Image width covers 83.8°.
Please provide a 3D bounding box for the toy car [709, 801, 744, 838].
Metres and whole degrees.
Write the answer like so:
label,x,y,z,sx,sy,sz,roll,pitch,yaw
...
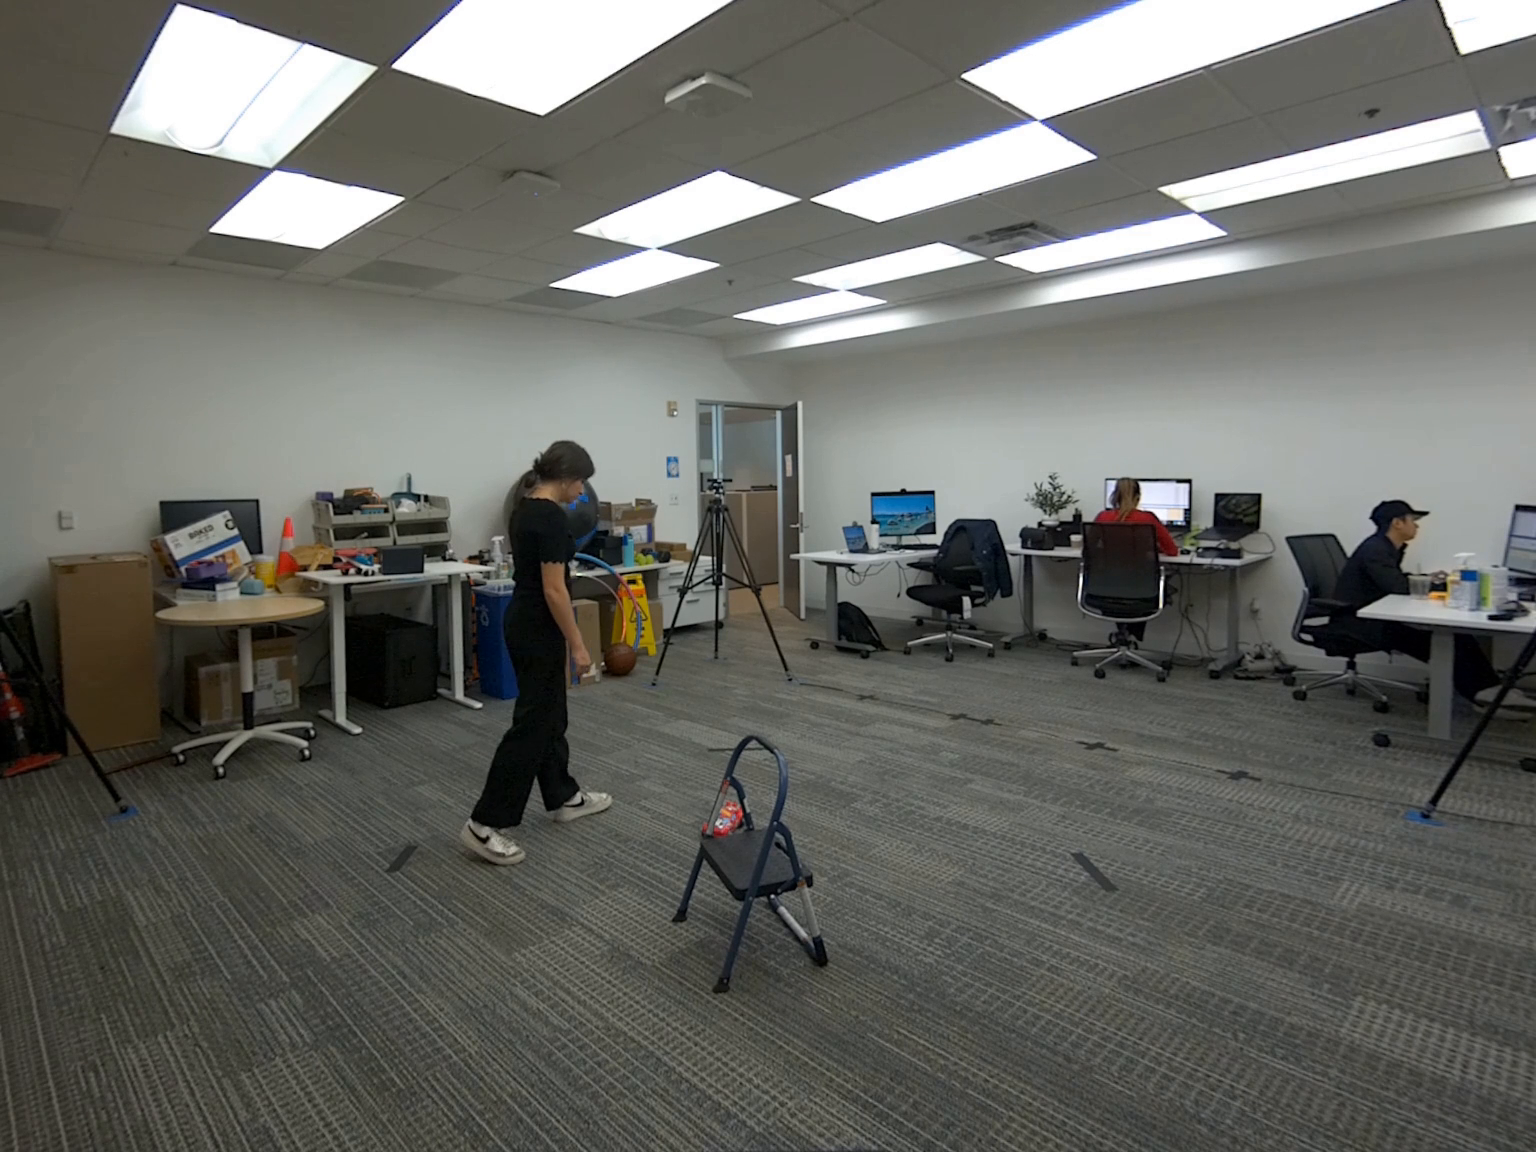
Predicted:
label,x,y,z,sx,sy,sz,roll,pitch,yaw
toy car,-0.168,0.985,3.417,0.133,0.082,0.253,-2,15,20
